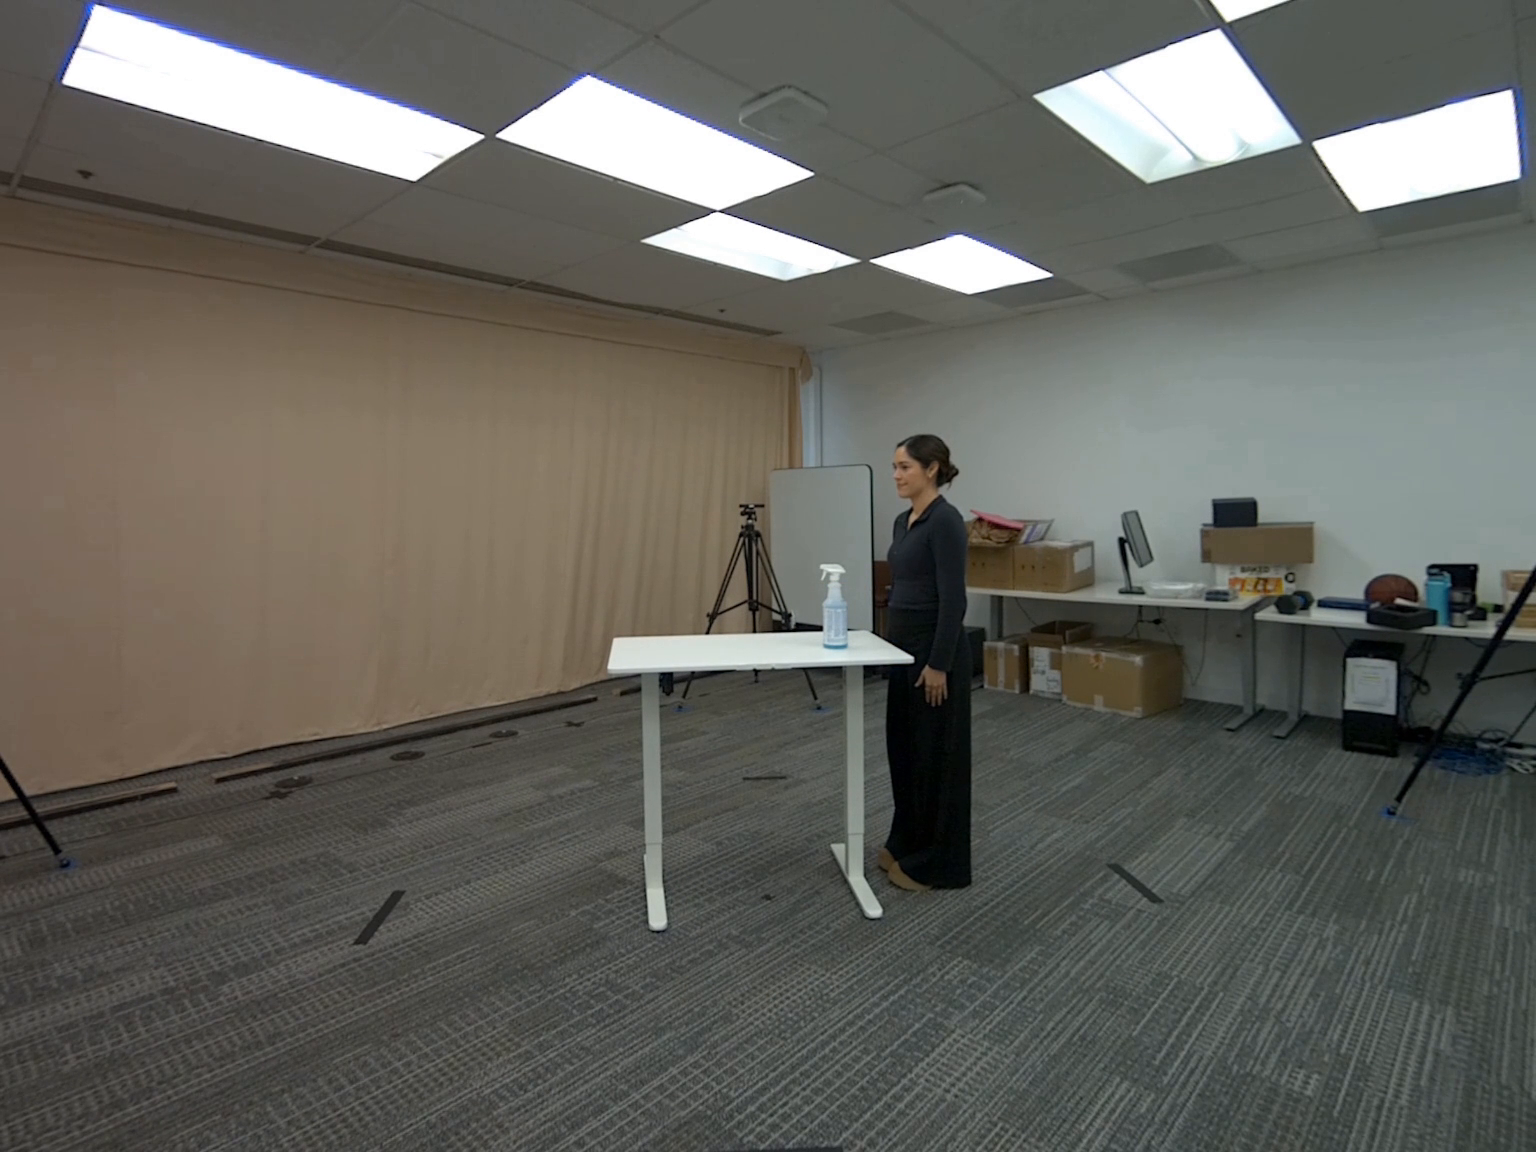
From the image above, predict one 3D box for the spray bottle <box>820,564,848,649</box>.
[{"bbox_3d":[0.246,0.110,2.988,0.091,0.296,0.086,-1,4,14],"label":"spray bottle"}]
